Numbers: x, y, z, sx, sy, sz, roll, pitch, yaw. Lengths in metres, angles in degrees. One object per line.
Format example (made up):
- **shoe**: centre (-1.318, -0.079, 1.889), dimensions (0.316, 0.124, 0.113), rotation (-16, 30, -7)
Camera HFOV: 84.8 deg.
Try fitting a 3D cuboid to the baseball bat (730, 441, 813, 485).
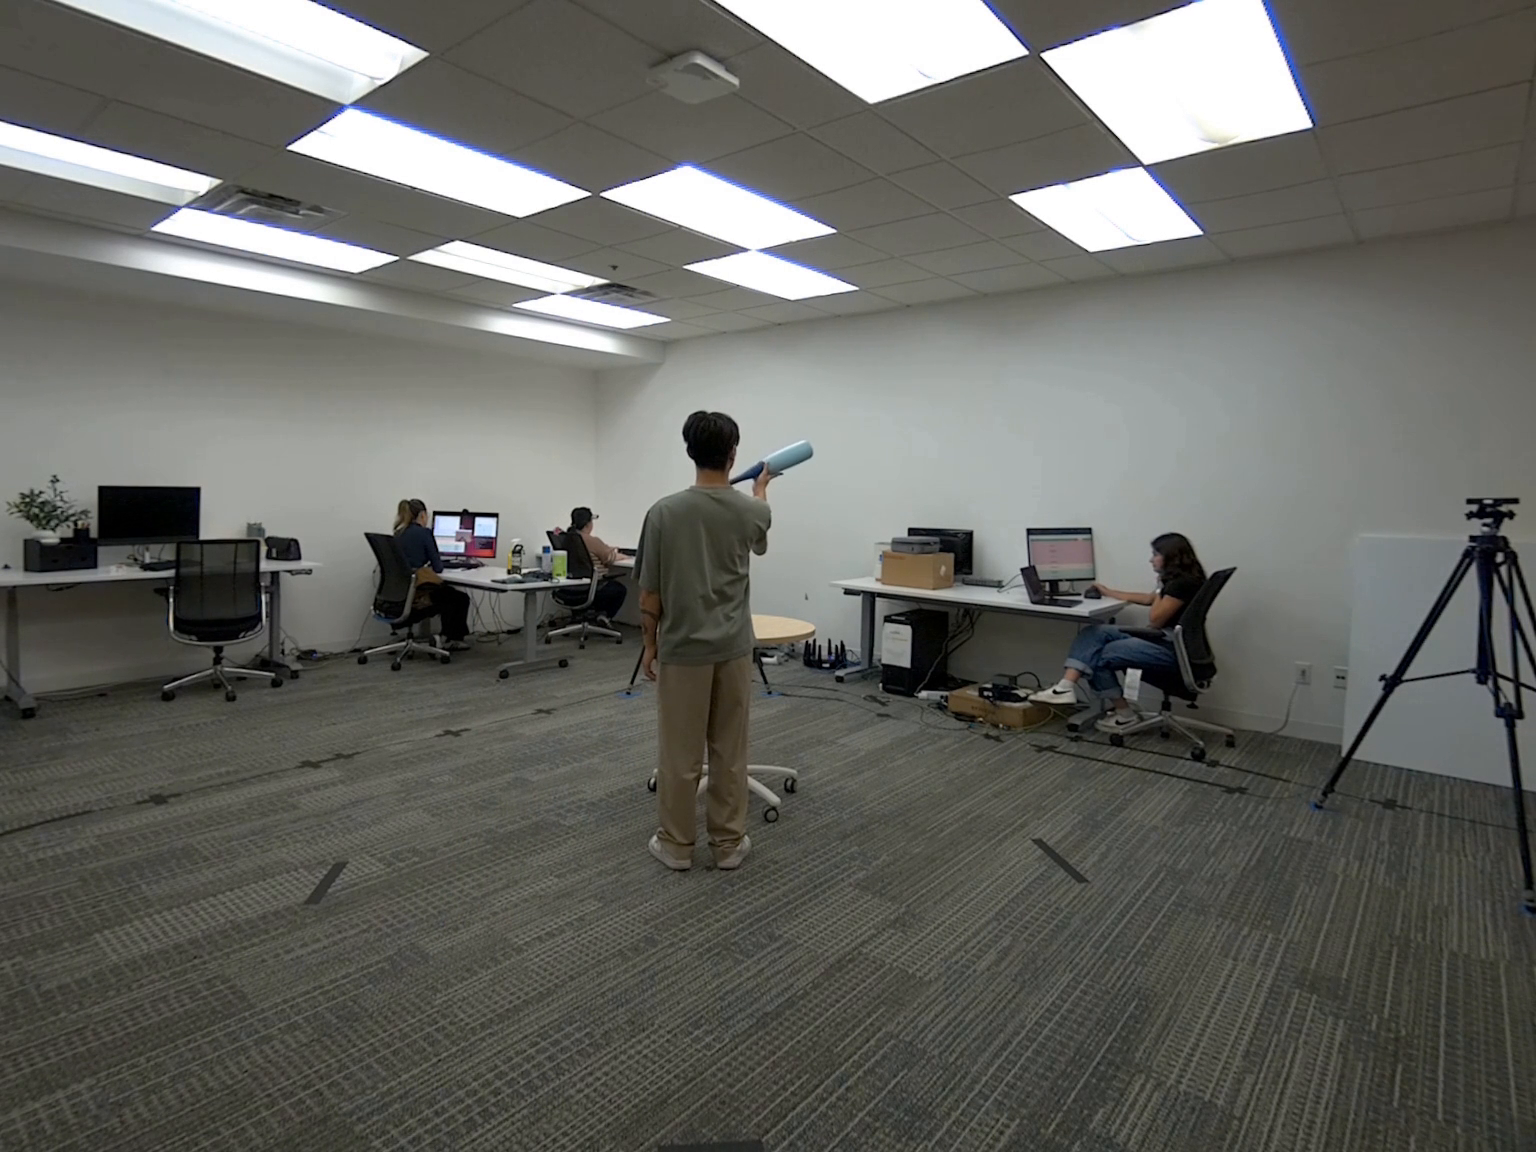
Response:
- **baseball bat**: centre (-0.047, -0.462, 3.662), dimensions (0.537, 0.087, 0.091), rotation (-27, 15, -22)
